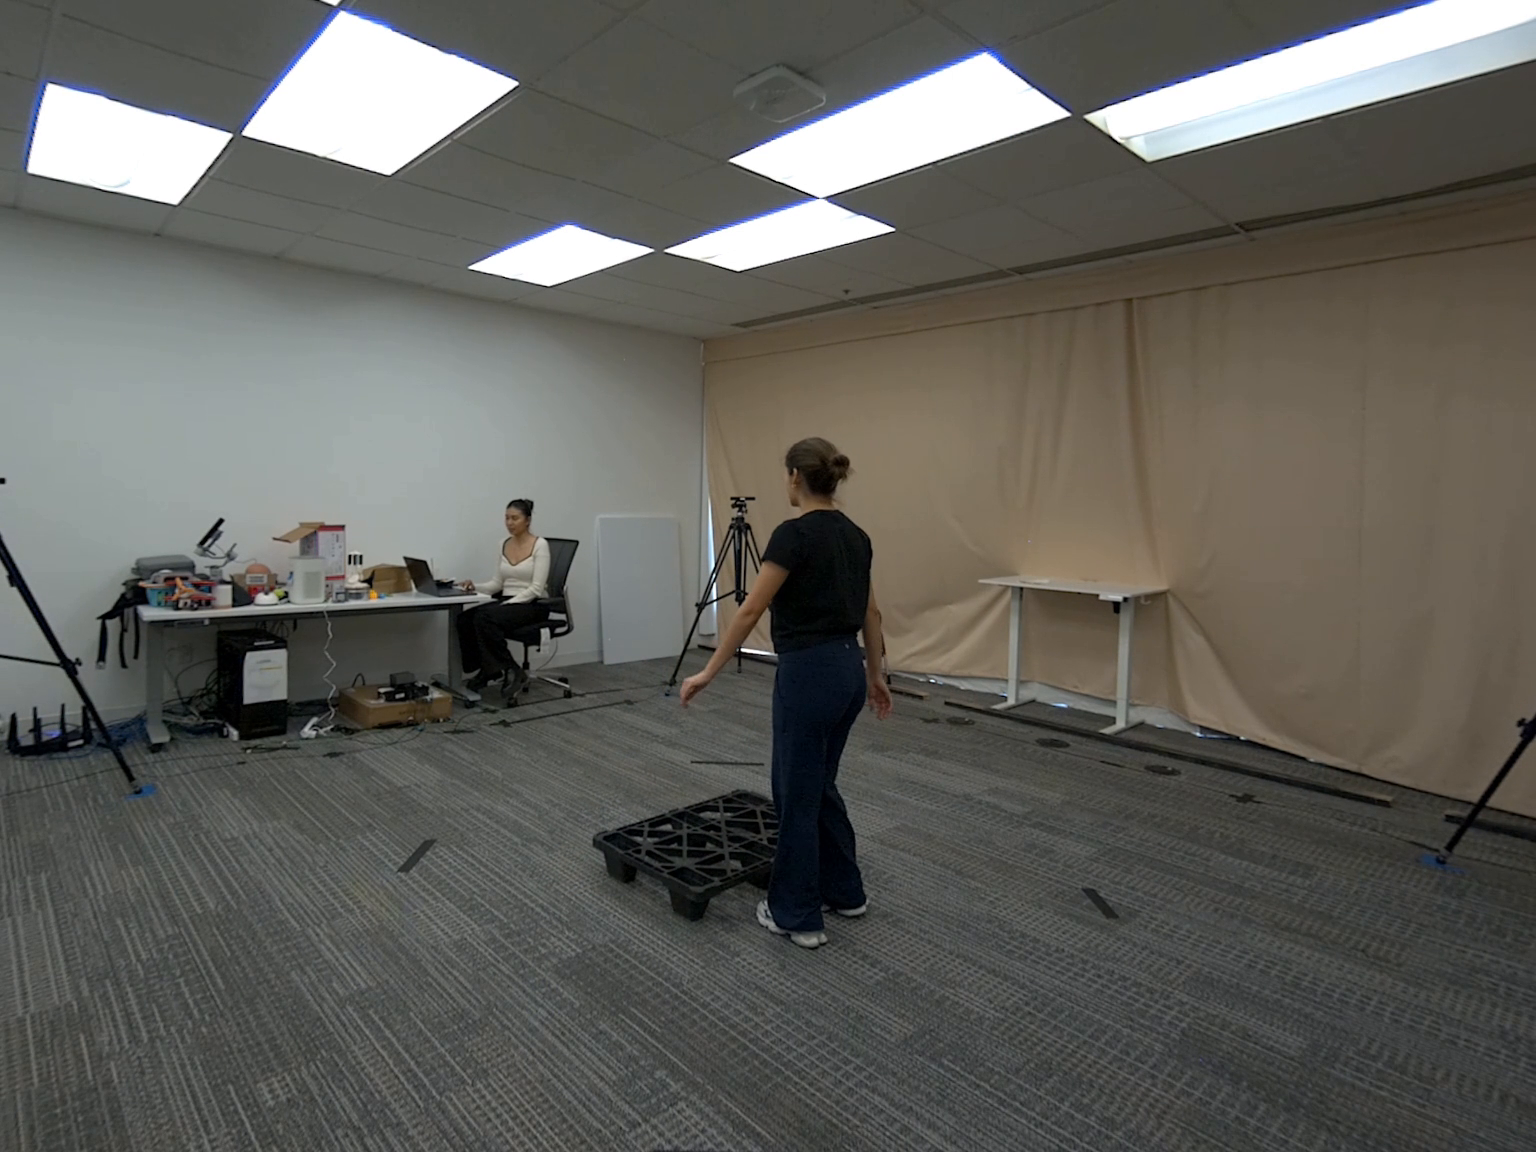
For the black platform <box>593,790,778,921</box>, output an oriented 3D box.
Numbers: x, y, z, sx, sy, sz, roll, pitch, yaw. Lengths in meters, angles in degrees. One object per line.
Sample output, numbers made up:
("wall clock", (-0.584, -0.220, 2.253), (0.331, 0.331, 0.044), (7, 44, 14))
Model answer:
("black platform", (-0.168, 1.037, 3.166), (0.621, 0.143, 0.787), (7, 8, 44))
